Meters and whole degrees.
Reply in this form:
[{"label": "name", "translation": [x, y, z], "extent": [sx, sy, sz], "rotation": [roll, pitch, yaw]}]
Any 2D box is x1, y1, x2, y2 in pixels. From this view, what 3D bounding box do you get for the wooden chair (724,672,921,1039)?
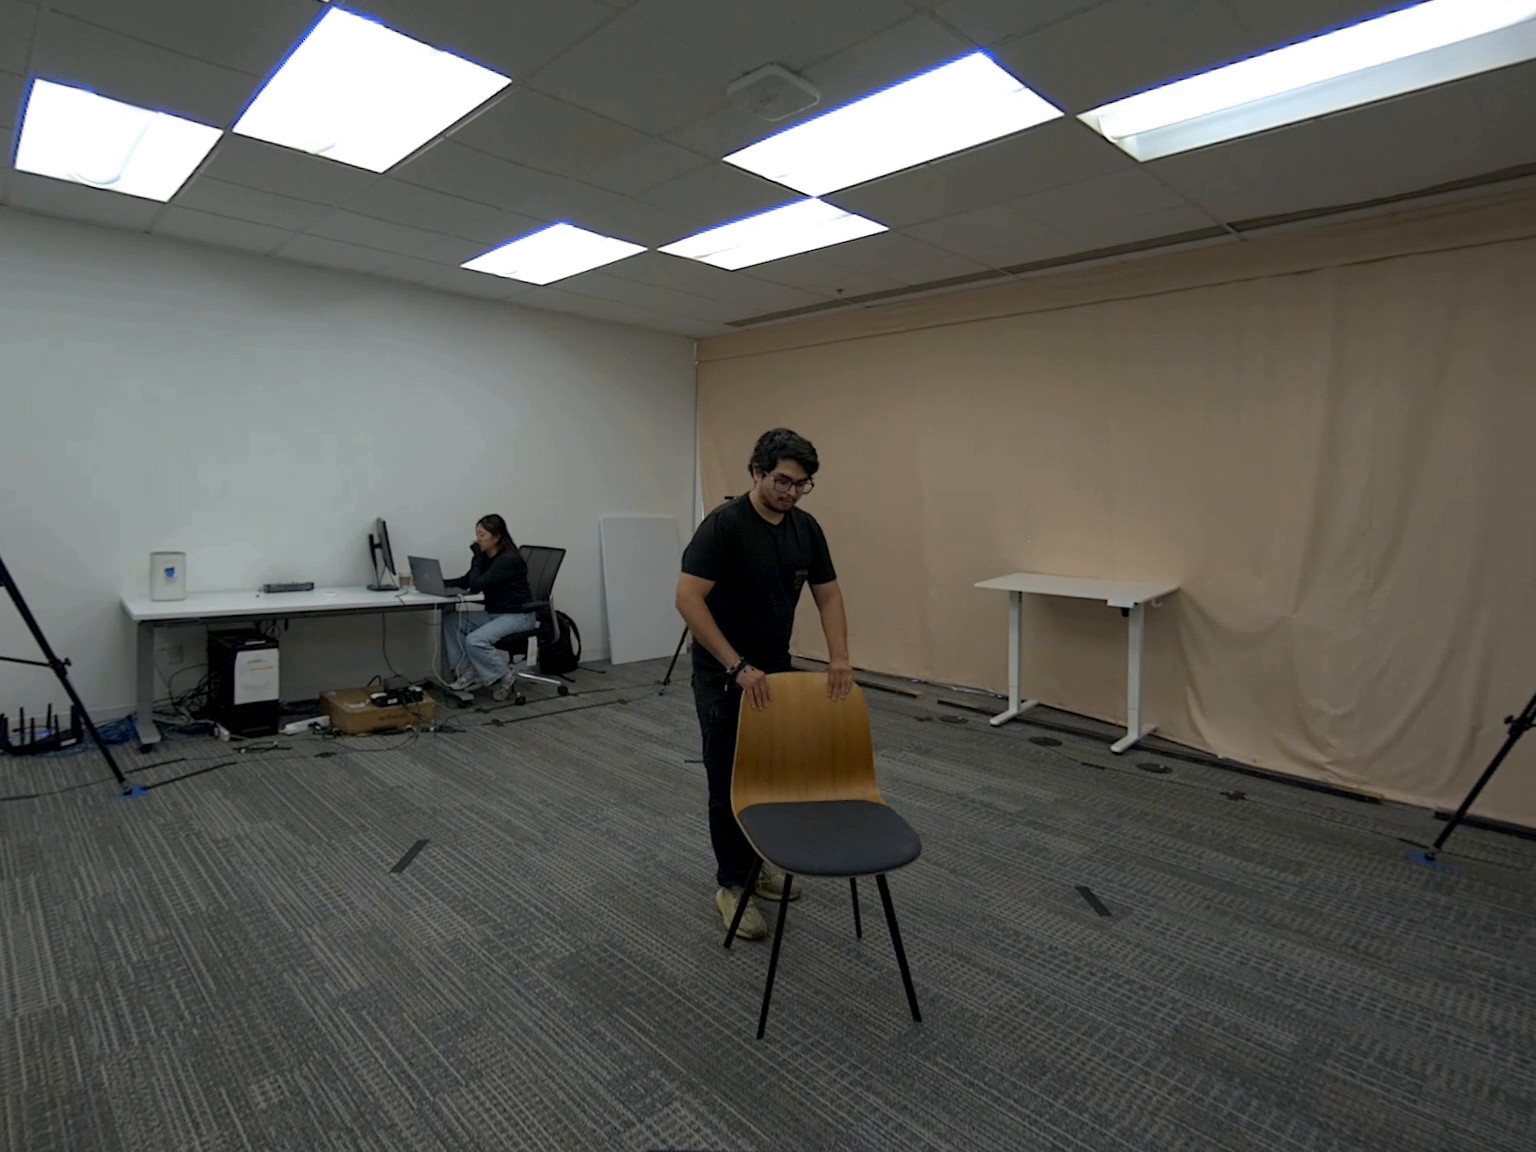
[{"label": "wooden chair", "translation": [0.149, 0.749, 2.387], "extent": [0.473, 0.878, 0.528], "rotation": [1, -1, -13]}]
